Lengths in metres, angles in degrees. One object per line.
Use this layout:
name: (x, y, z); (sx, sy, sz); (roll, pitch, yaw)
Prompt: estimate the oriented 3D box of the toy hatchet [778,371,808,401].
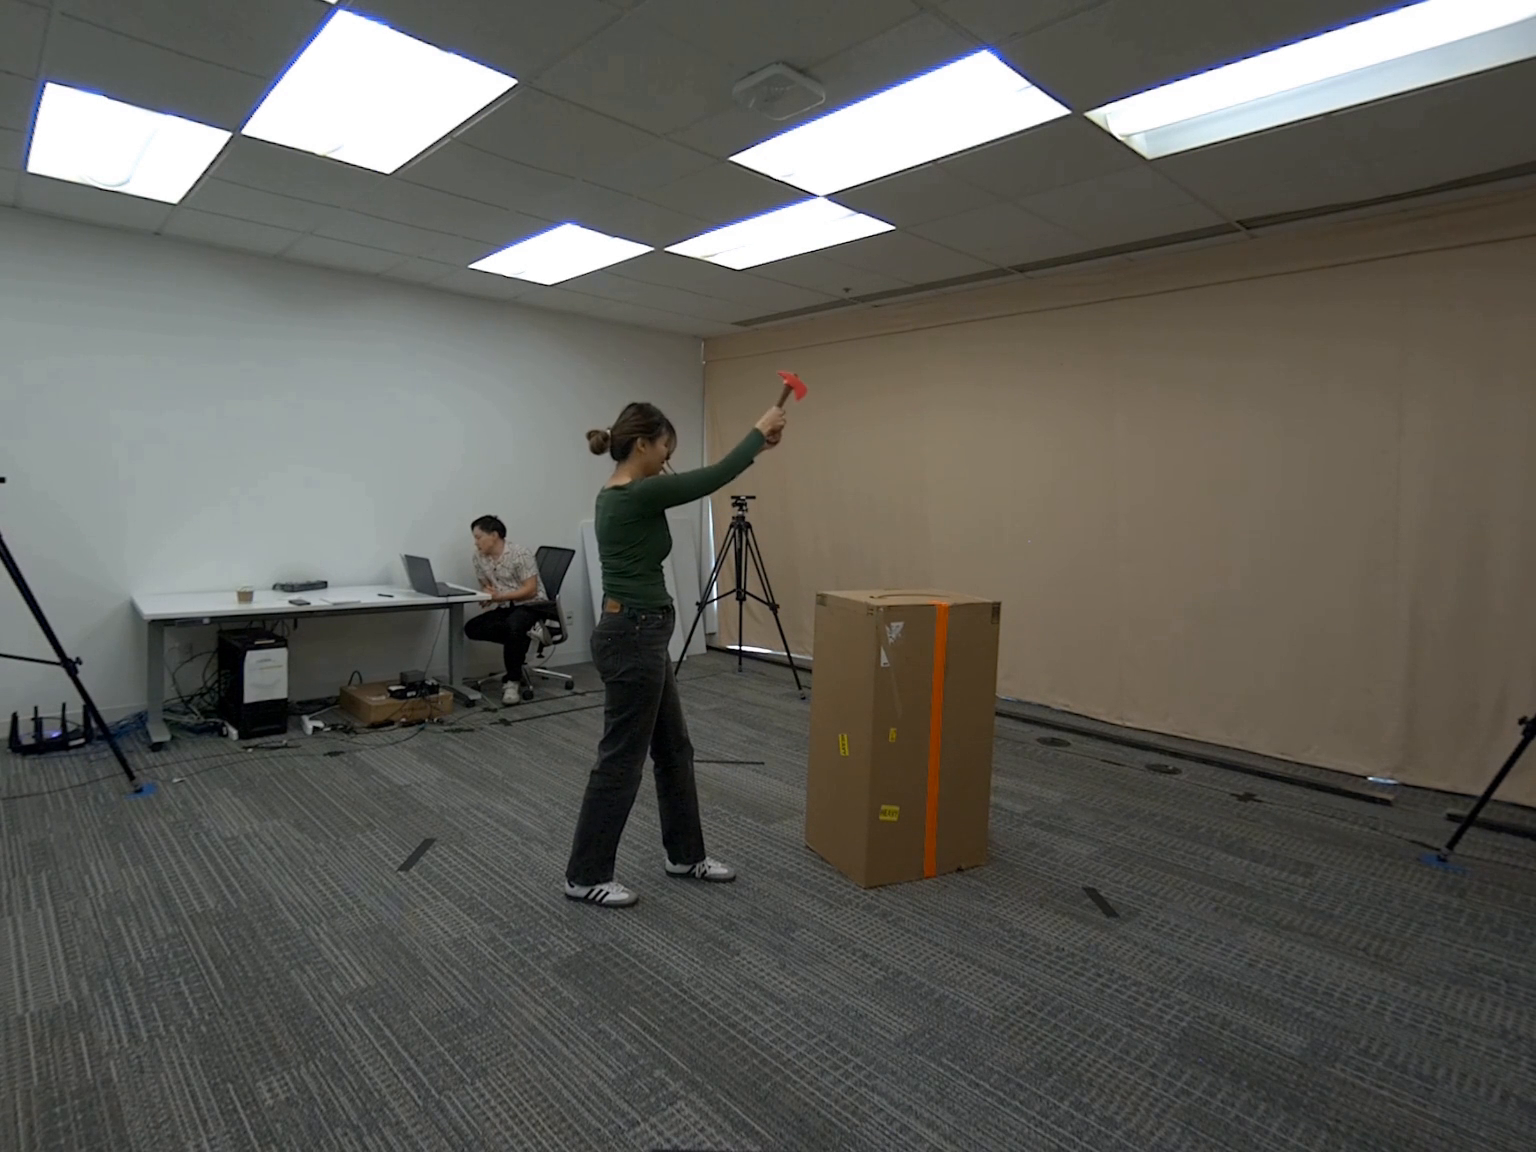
toy hatchet: (0.062, -0.600, 3.053); (0.128, 0.270, 0.030); (12, -1, -28)
